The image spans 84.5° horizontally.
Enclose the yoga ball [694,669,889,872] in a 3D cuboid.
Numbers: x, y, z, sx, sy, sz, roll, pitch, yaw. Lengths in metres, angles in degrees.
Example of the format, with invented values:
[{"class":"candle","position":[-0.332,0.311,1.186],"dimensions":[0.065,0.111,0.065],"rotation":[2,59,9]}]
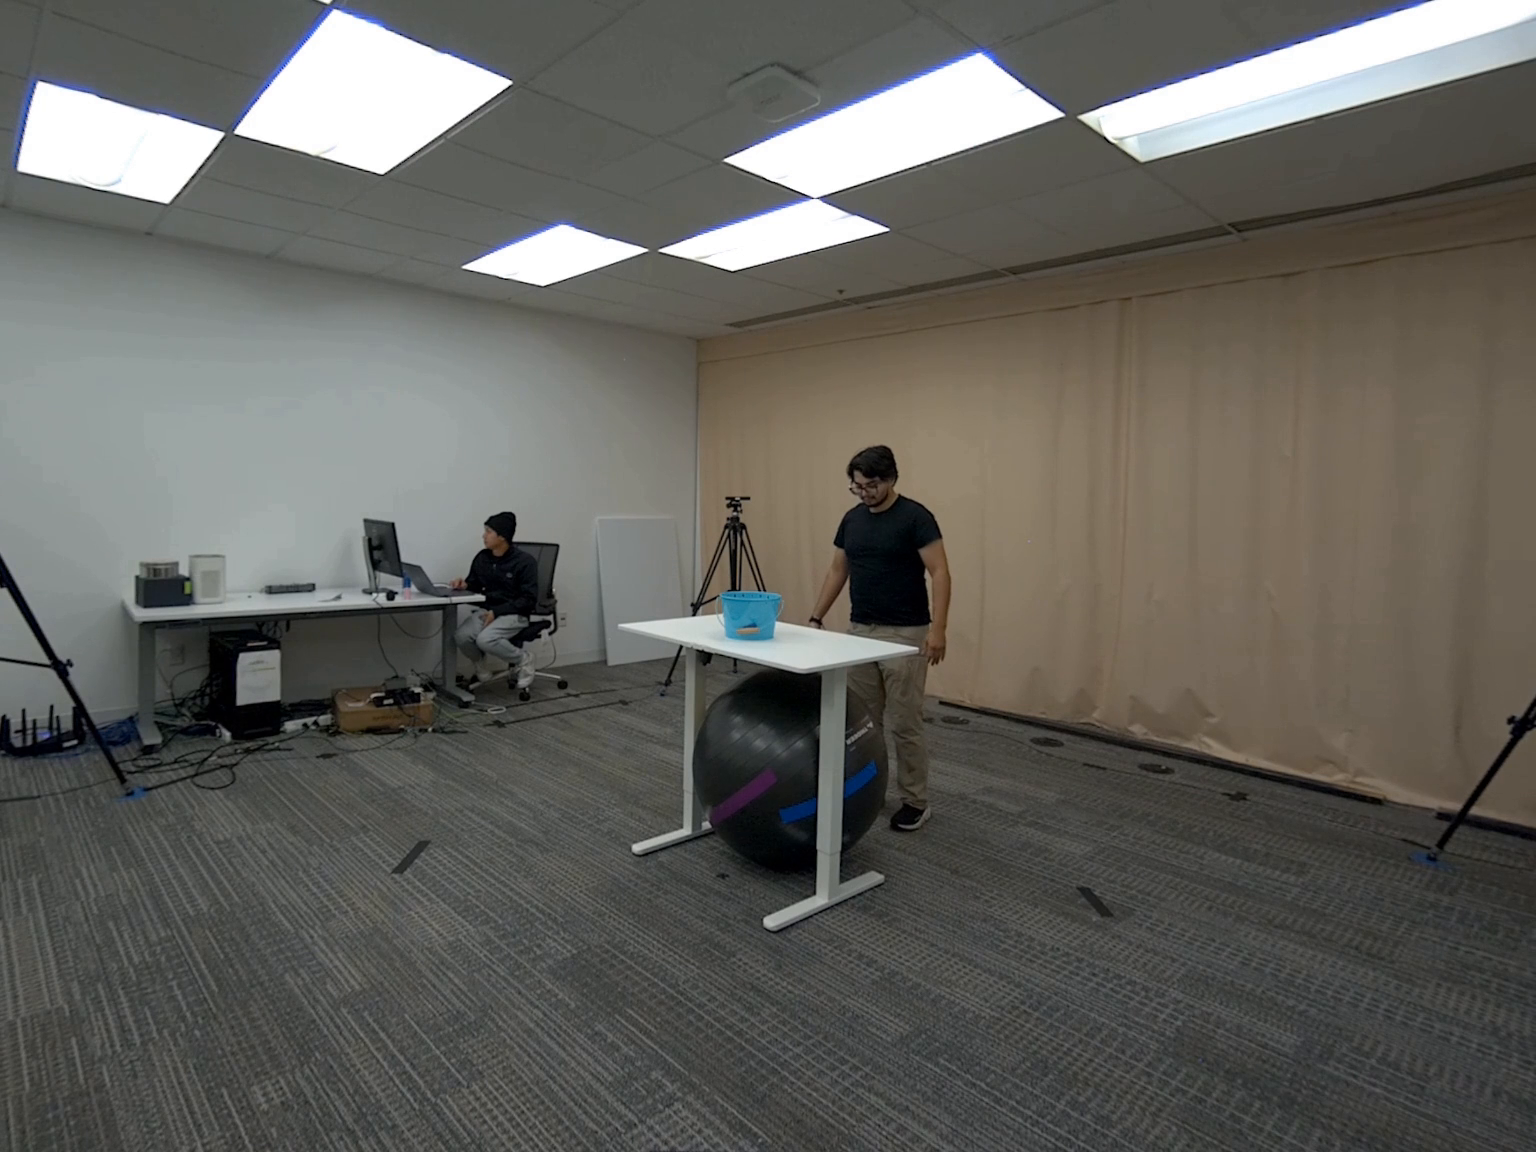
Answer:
[{"class":"yoga ball","position":[0.086,0.739,3.278],"dimensions":[0.757,0.756,0.761],"rotation":[1,4,-1]}]
